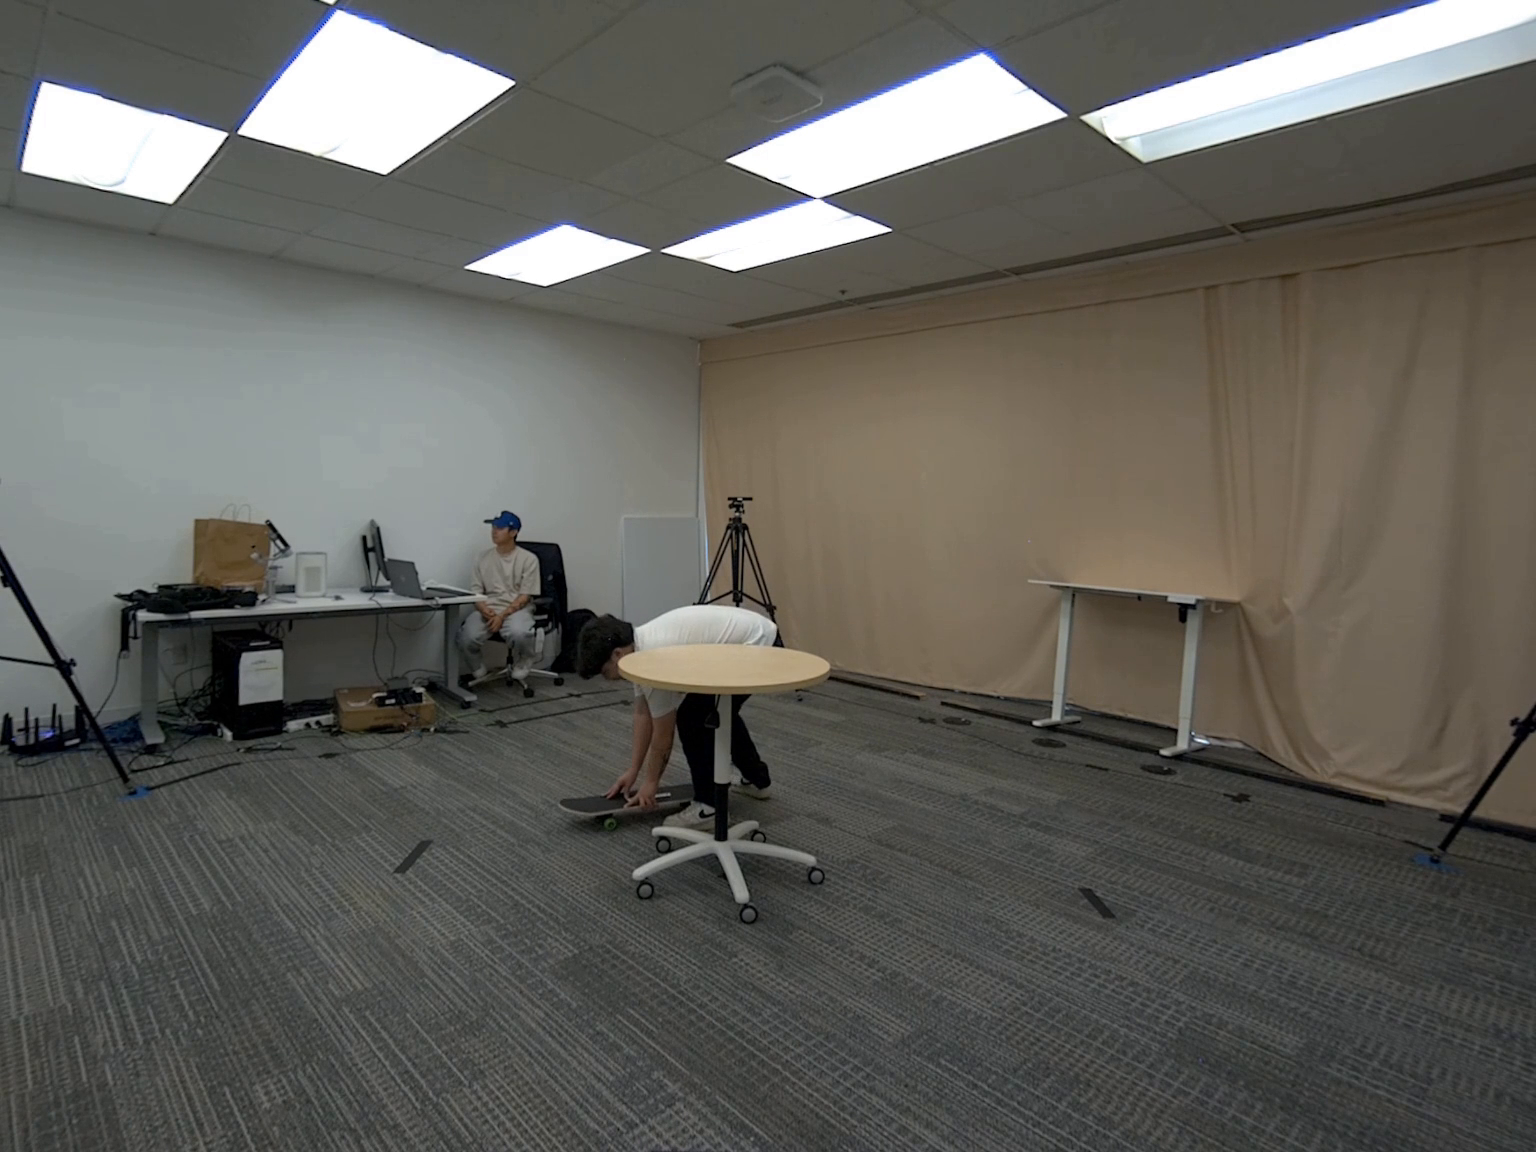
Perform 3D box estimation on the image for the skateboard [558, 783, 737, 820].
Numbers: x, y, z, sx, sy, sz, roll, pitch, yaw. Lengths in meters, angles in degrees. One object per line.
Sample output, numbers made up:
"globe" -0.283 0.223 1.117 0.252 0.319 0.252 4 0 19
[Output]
"skateboard" -0.530 0.995 3.668 0.771 0.110 0.197 -1 5 -25
